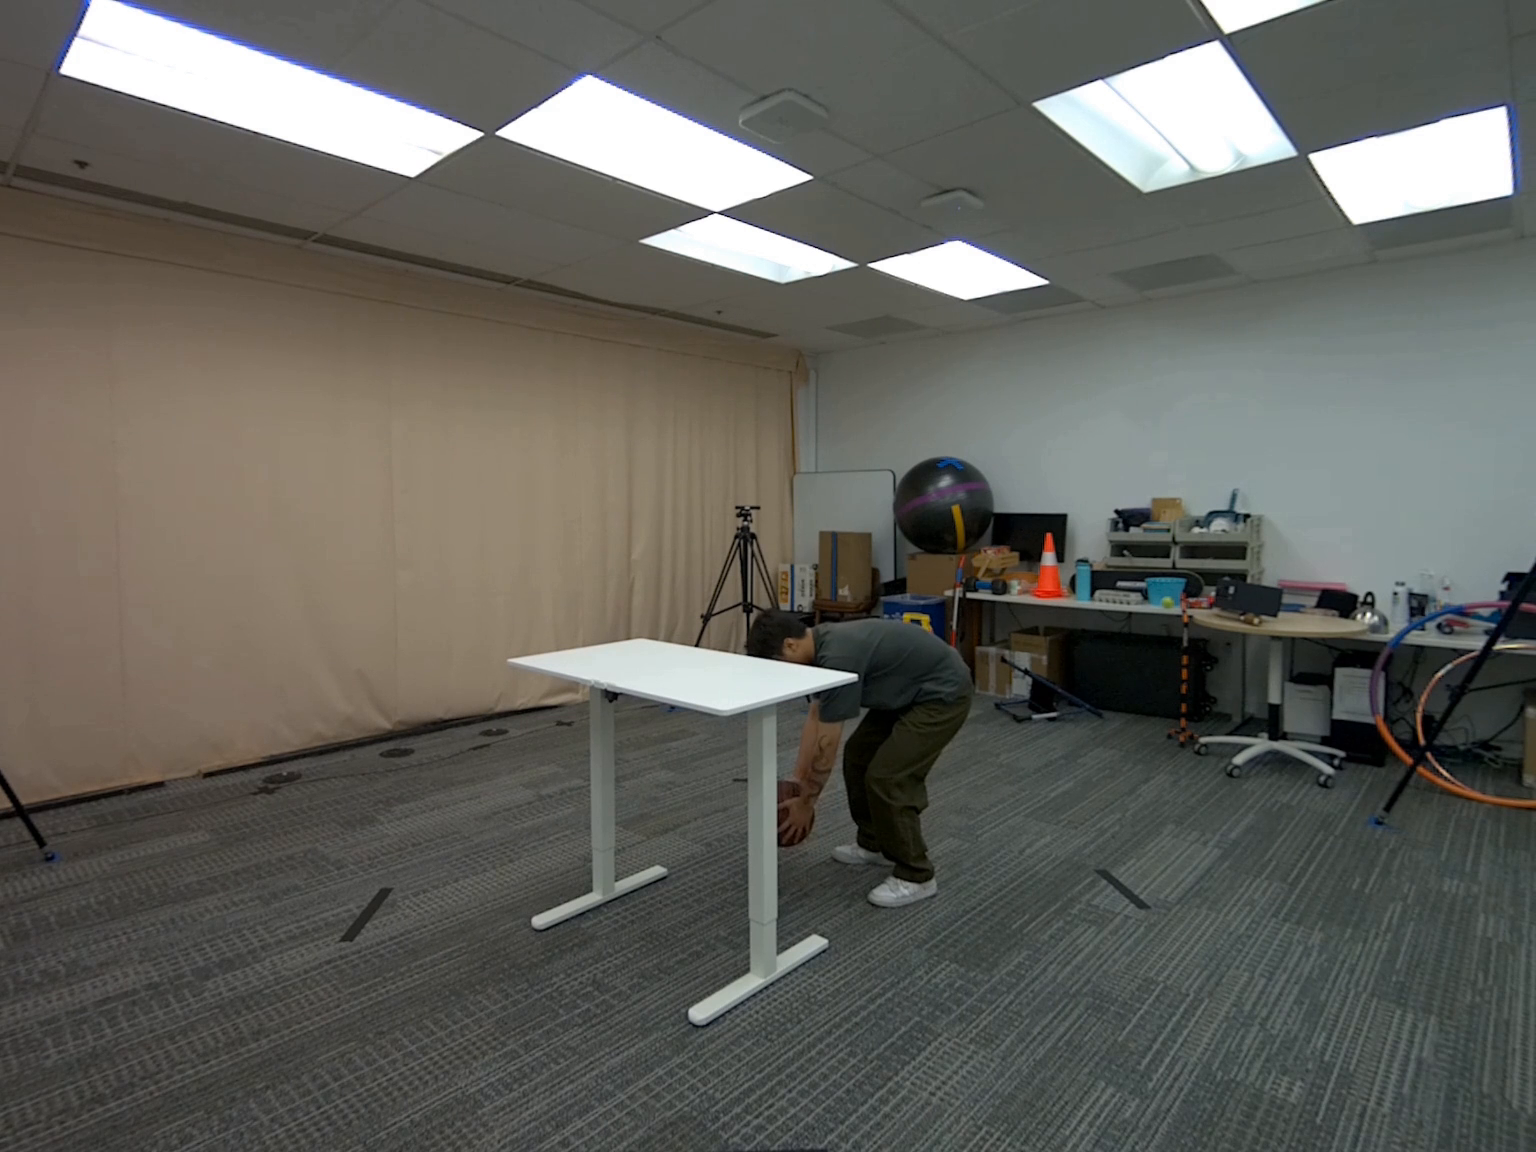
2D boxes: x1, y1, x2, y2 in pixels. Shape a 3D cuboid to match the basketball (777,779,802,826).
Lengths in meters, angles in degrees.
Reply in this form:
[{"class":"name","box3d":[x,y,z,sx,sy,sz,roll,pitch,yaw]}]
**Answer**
[{"class":"basketball","box3d":[0.047,0.888,3.137,0.236,0.235,0.237,0,4,-2]}]
